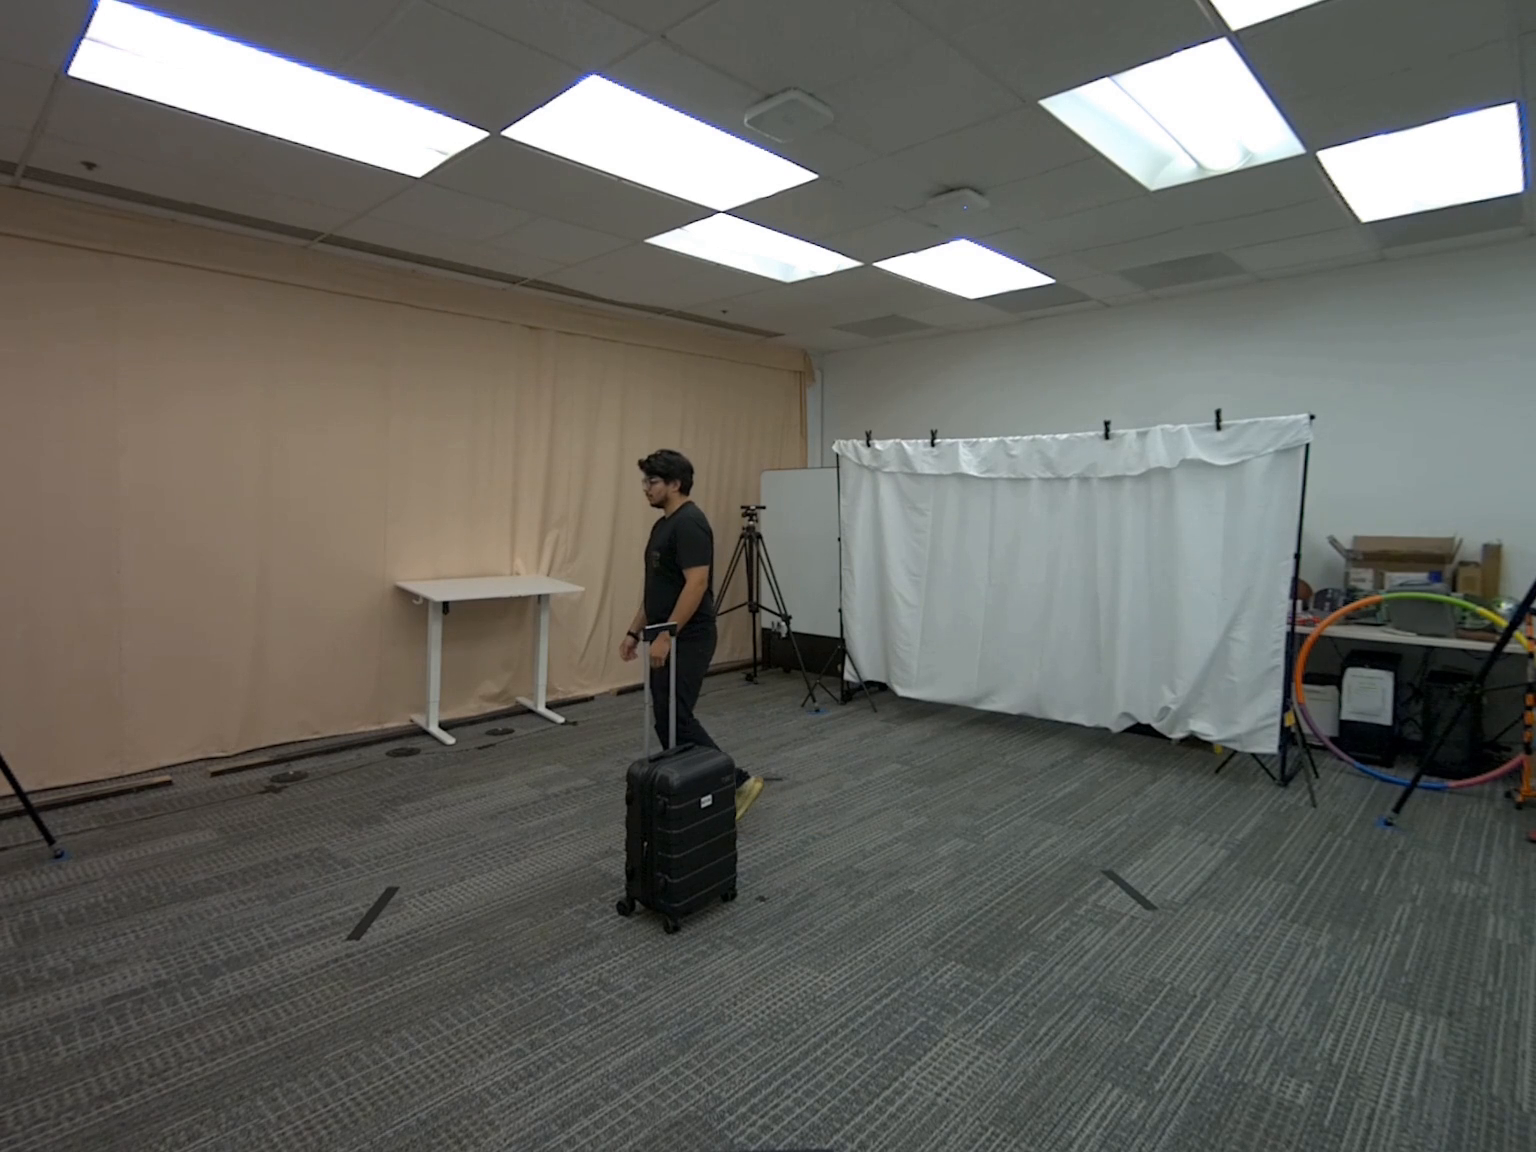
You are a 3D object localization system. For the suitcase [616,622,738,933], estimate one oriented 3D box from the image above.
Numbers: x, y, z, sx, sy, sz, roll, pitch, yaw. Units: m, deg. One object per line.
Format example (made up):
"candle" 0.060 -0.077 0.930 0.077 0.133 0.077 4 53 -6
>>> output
"suitcase" -0.286 0.678 2.886 0.265 0.975 0.372 6 6 37
